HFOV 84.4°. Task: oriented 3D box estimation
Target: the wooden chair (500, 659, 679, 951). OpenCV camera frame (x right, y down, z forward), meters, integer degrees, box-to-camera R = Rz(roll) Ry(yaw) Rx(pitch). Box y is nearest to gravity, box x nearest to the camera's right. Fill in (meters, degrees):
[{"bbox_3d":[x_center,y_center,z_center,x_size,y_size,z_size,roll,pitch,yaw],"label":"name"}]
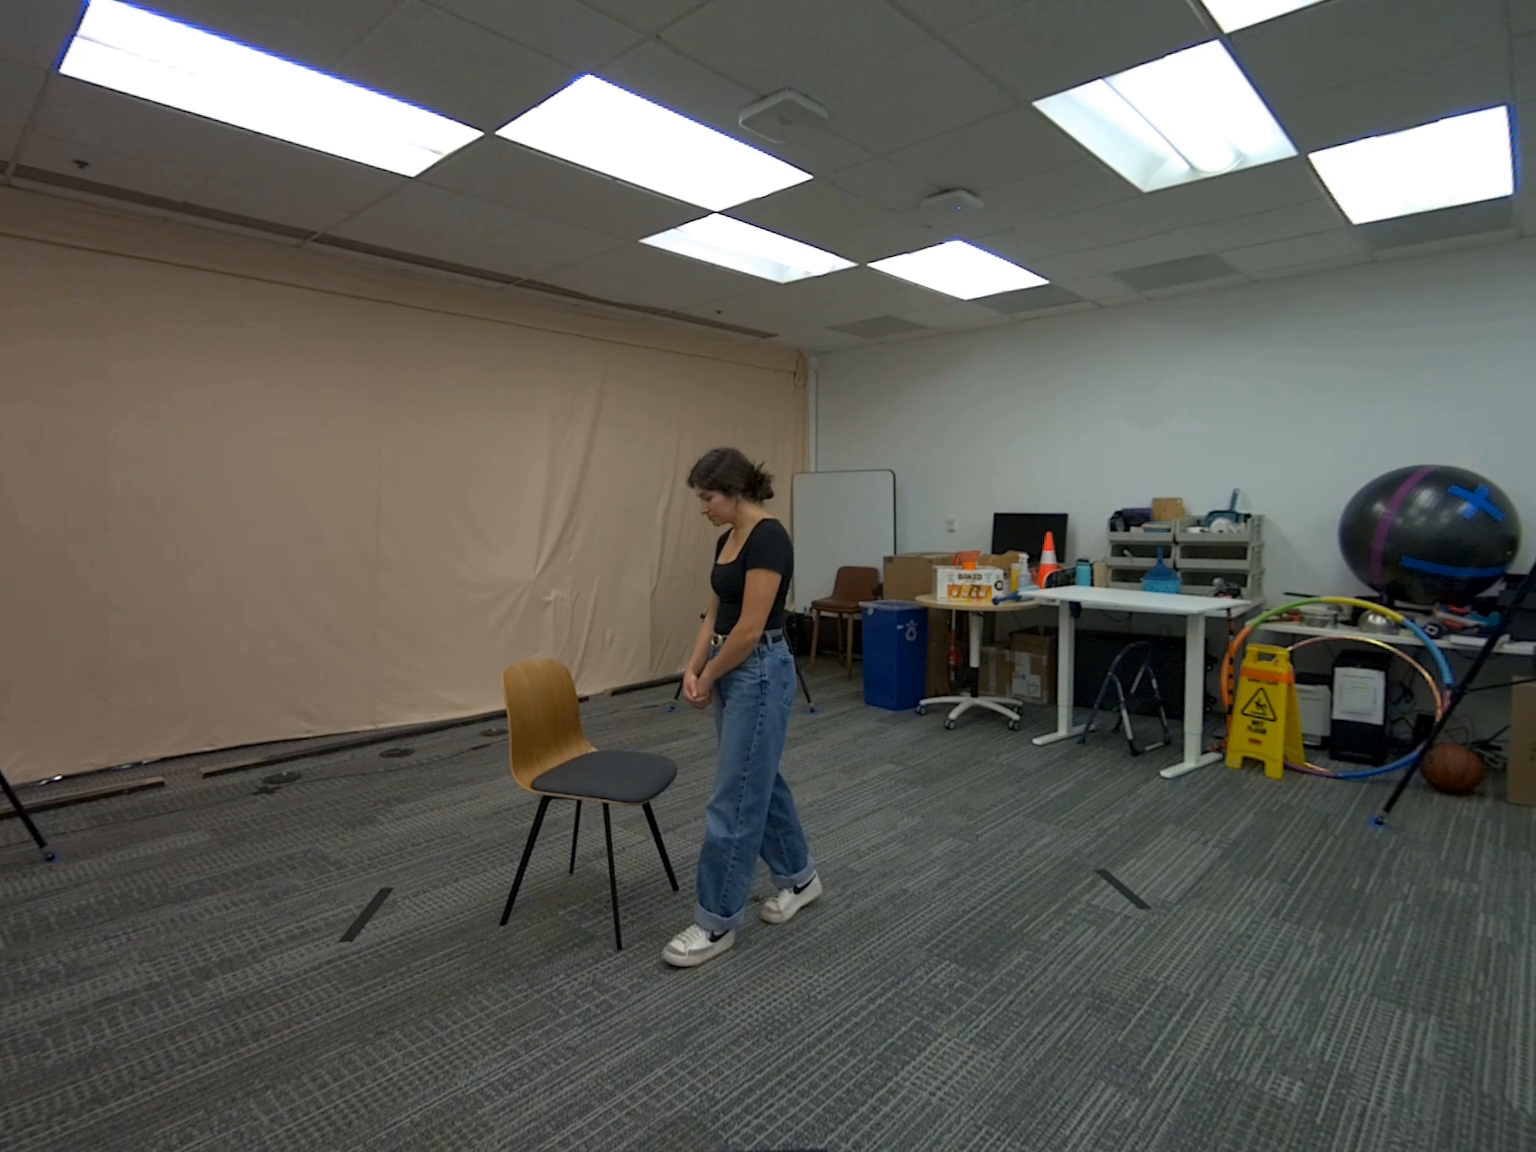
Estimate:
[{"bbox_3d":[-0.602,0.731,2.901,0.534,0.876,0.469,-4,1,20],"label":"wooden chair"}]
